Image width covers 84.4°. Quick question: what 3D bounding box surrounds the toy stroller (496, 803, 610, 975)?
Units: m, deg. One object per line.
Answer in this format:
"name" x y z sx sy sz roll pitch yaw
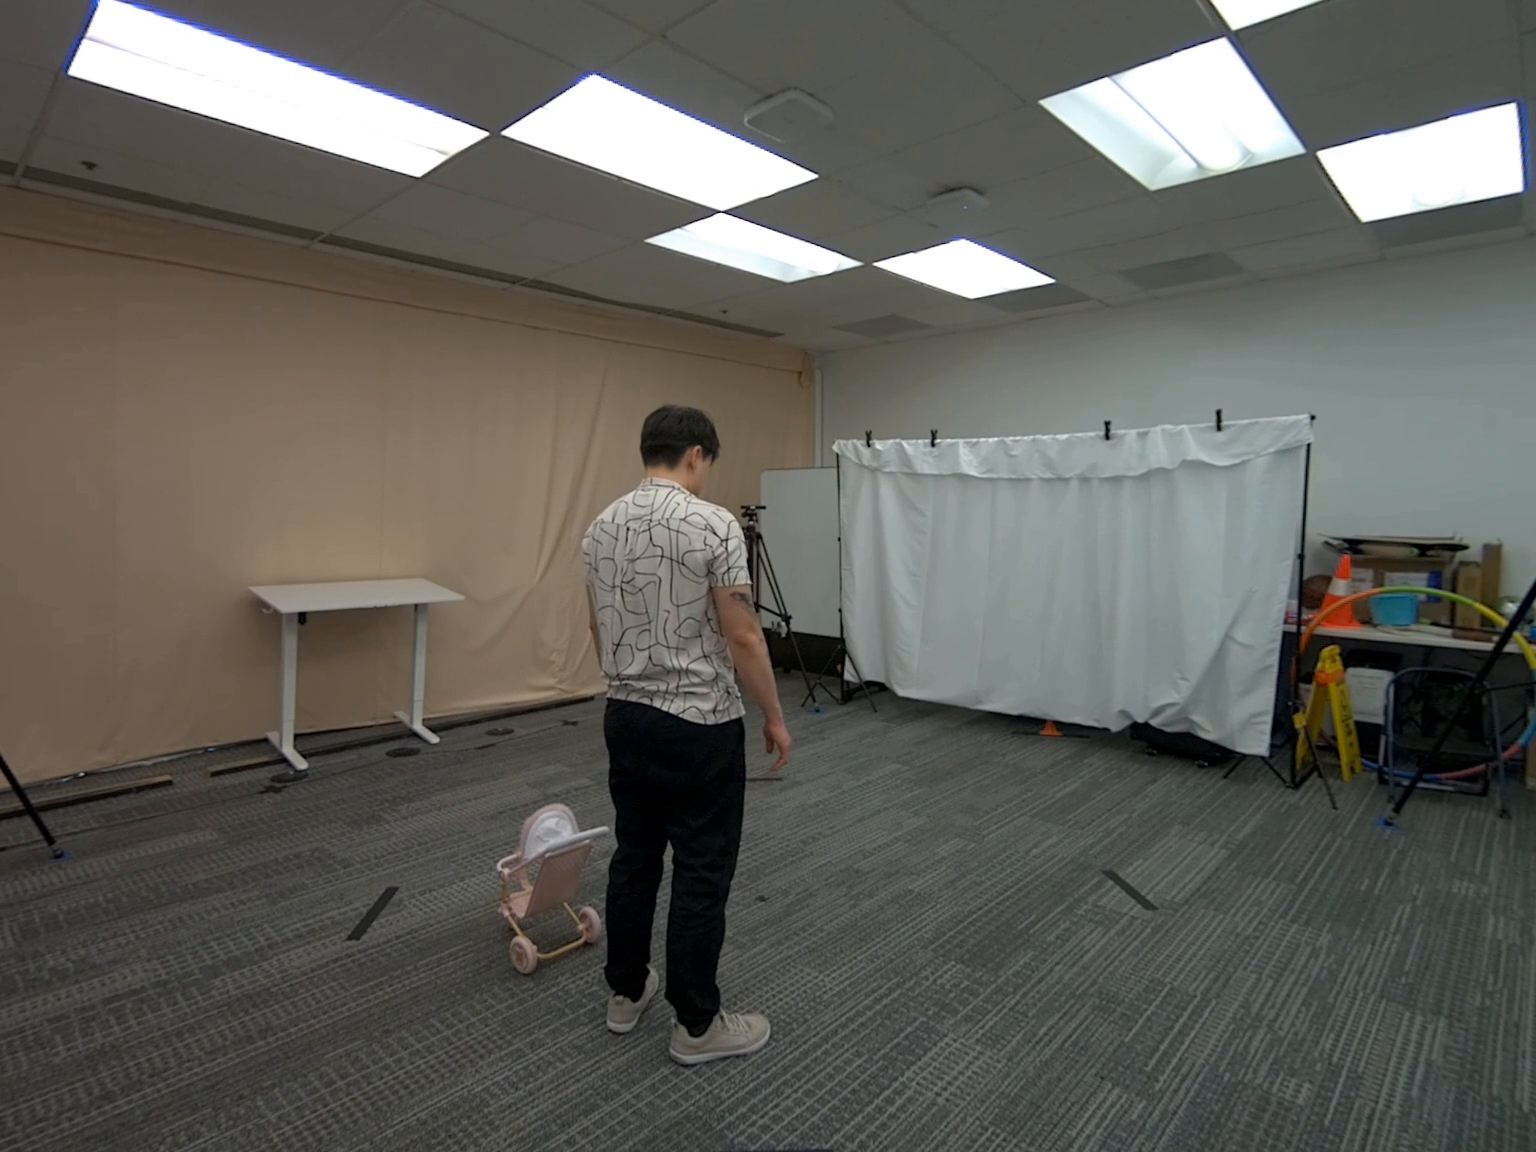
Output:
"toy stroller" -0.698 0.953 2.642 0.273 0.532 0.354 -2 20 -43
